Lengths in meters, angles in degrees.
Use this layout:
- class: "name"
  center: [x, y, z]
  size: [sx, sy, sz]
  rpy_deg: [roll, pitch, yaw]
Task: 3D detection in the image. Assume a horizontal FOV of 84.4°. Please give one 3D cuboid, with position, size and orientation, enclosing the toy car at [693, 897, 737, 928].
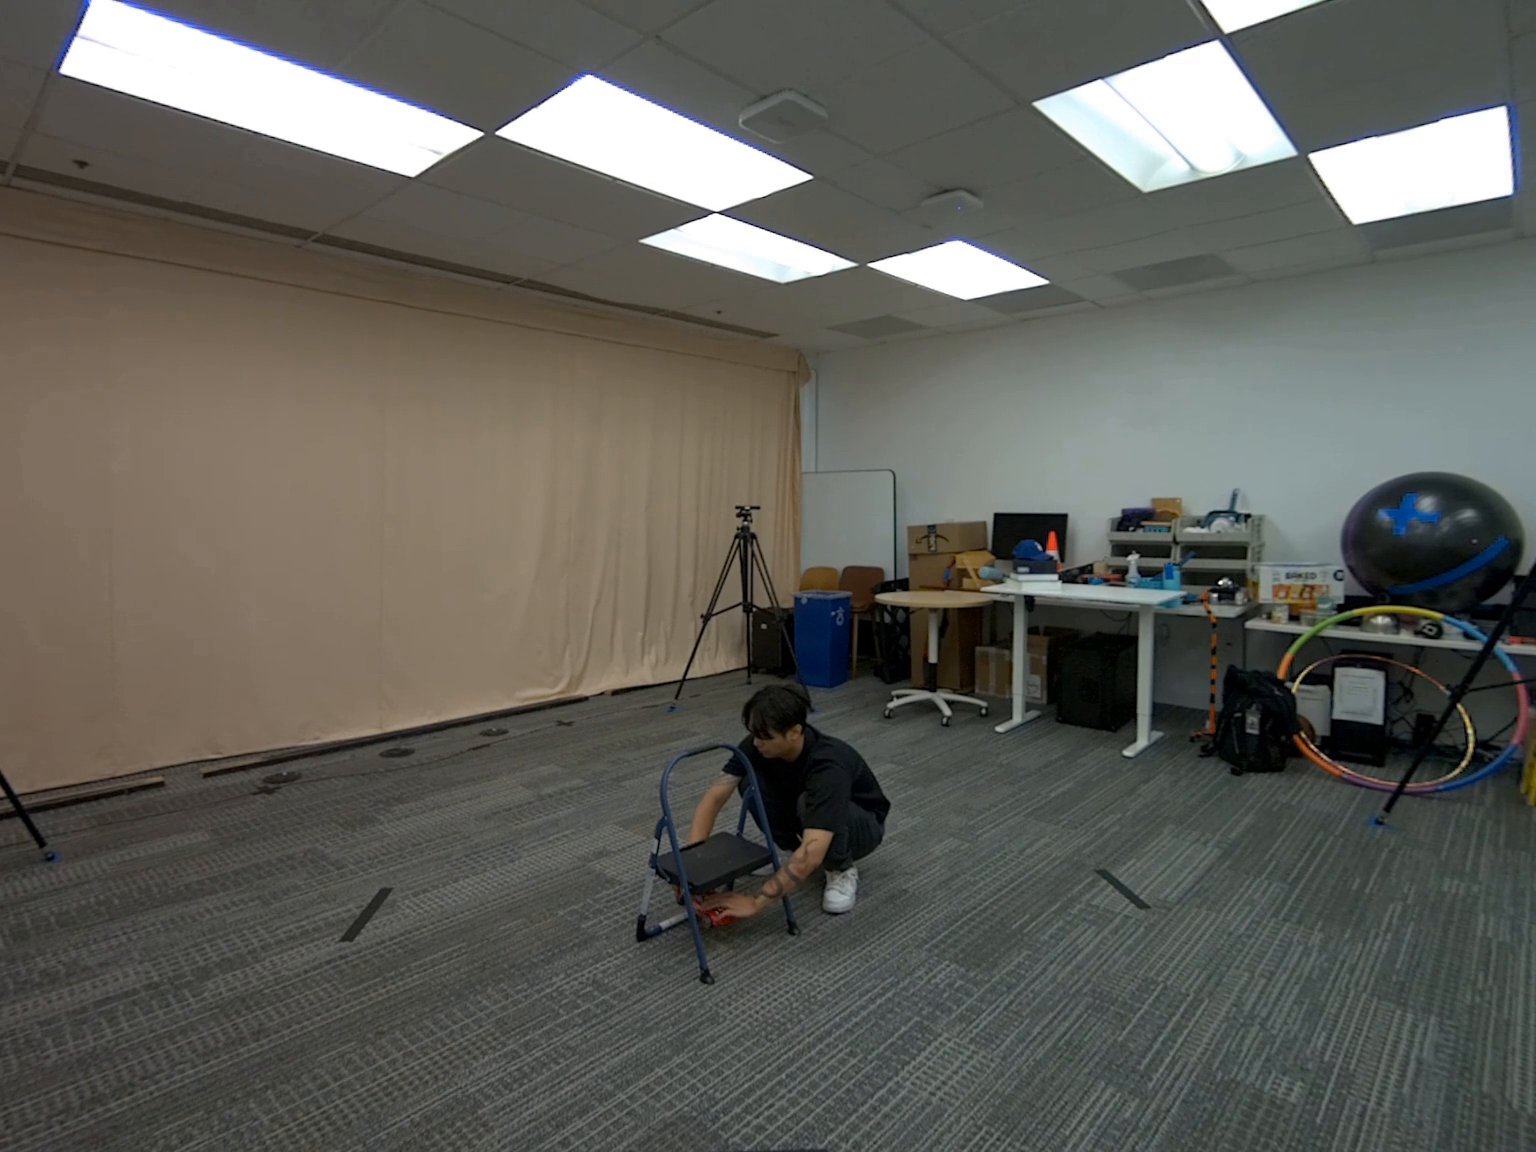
- class: "toy car"
  center: [-0.210, 1.085, 2.777]
  size: [0.126, 0.083, 0.264]
  rpy_deg: [5, 18, -39]
